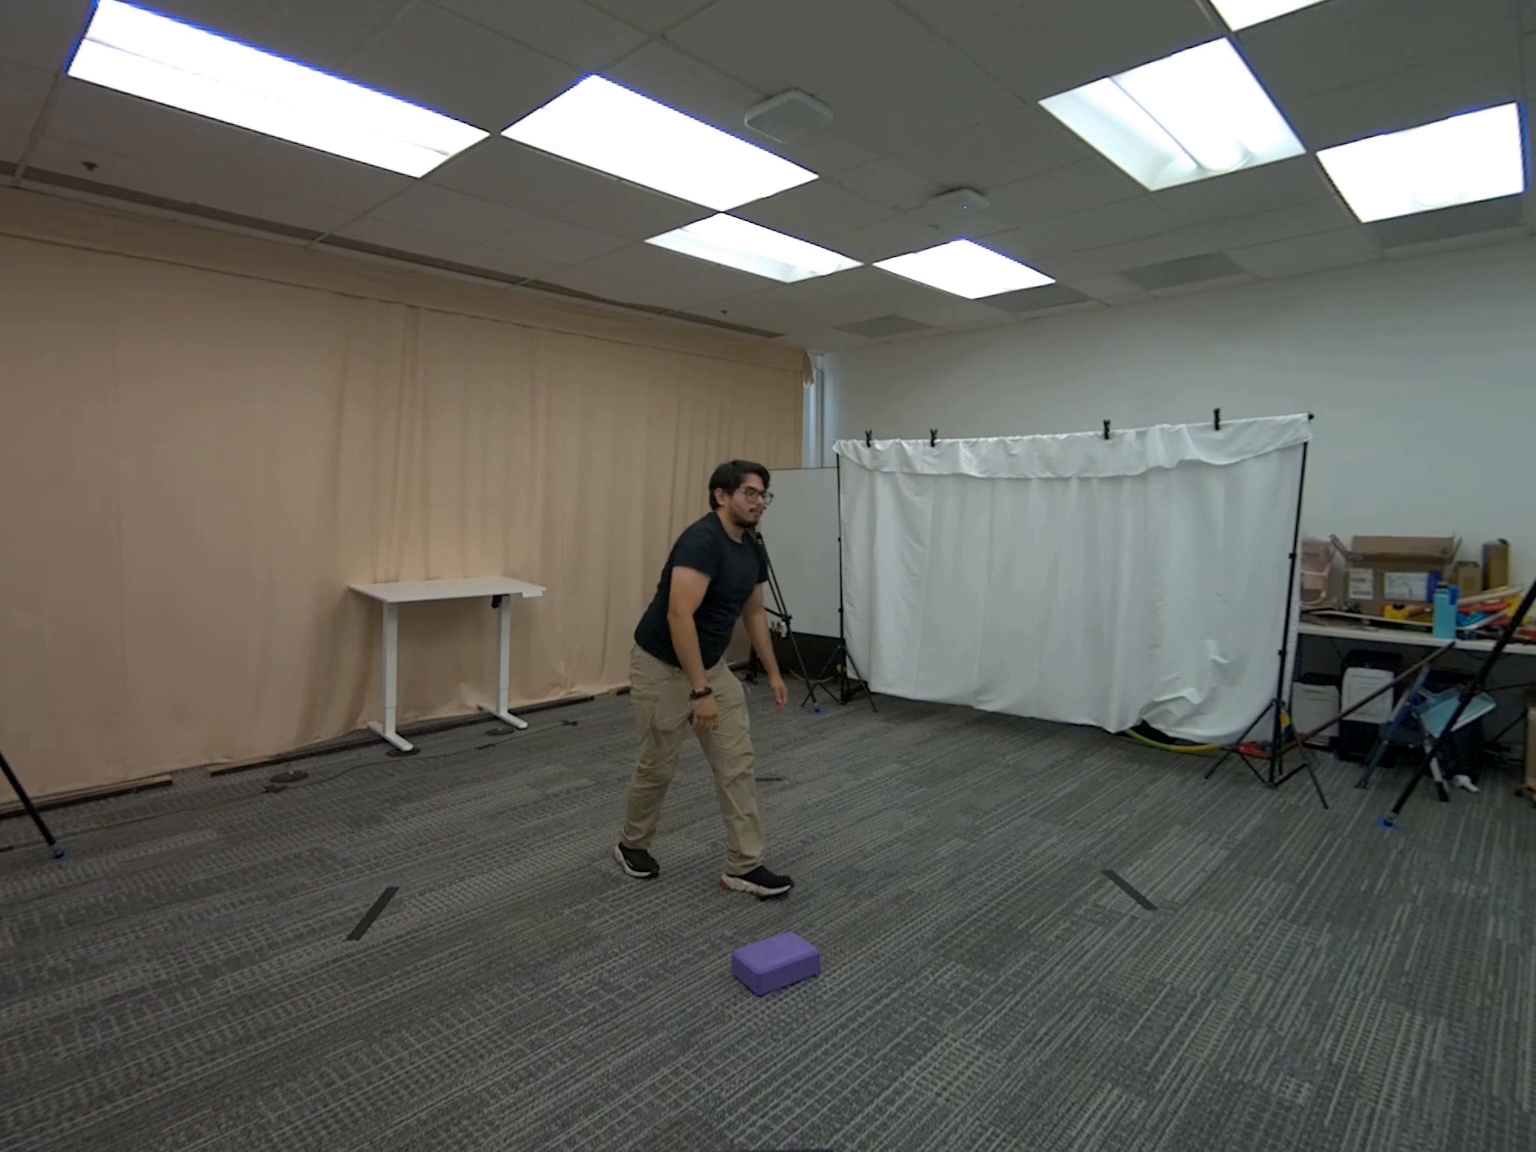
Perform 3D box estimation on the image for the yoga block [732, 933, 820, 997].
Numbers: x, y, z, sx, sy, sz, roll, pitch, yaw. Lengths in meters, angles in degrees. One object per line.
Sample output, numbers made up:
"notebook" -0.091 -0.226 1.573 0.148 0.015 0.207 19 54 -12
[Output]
"yoga block" 0.029 1.143 2.493 0.223 0.076 0.153 -3 5 -33
